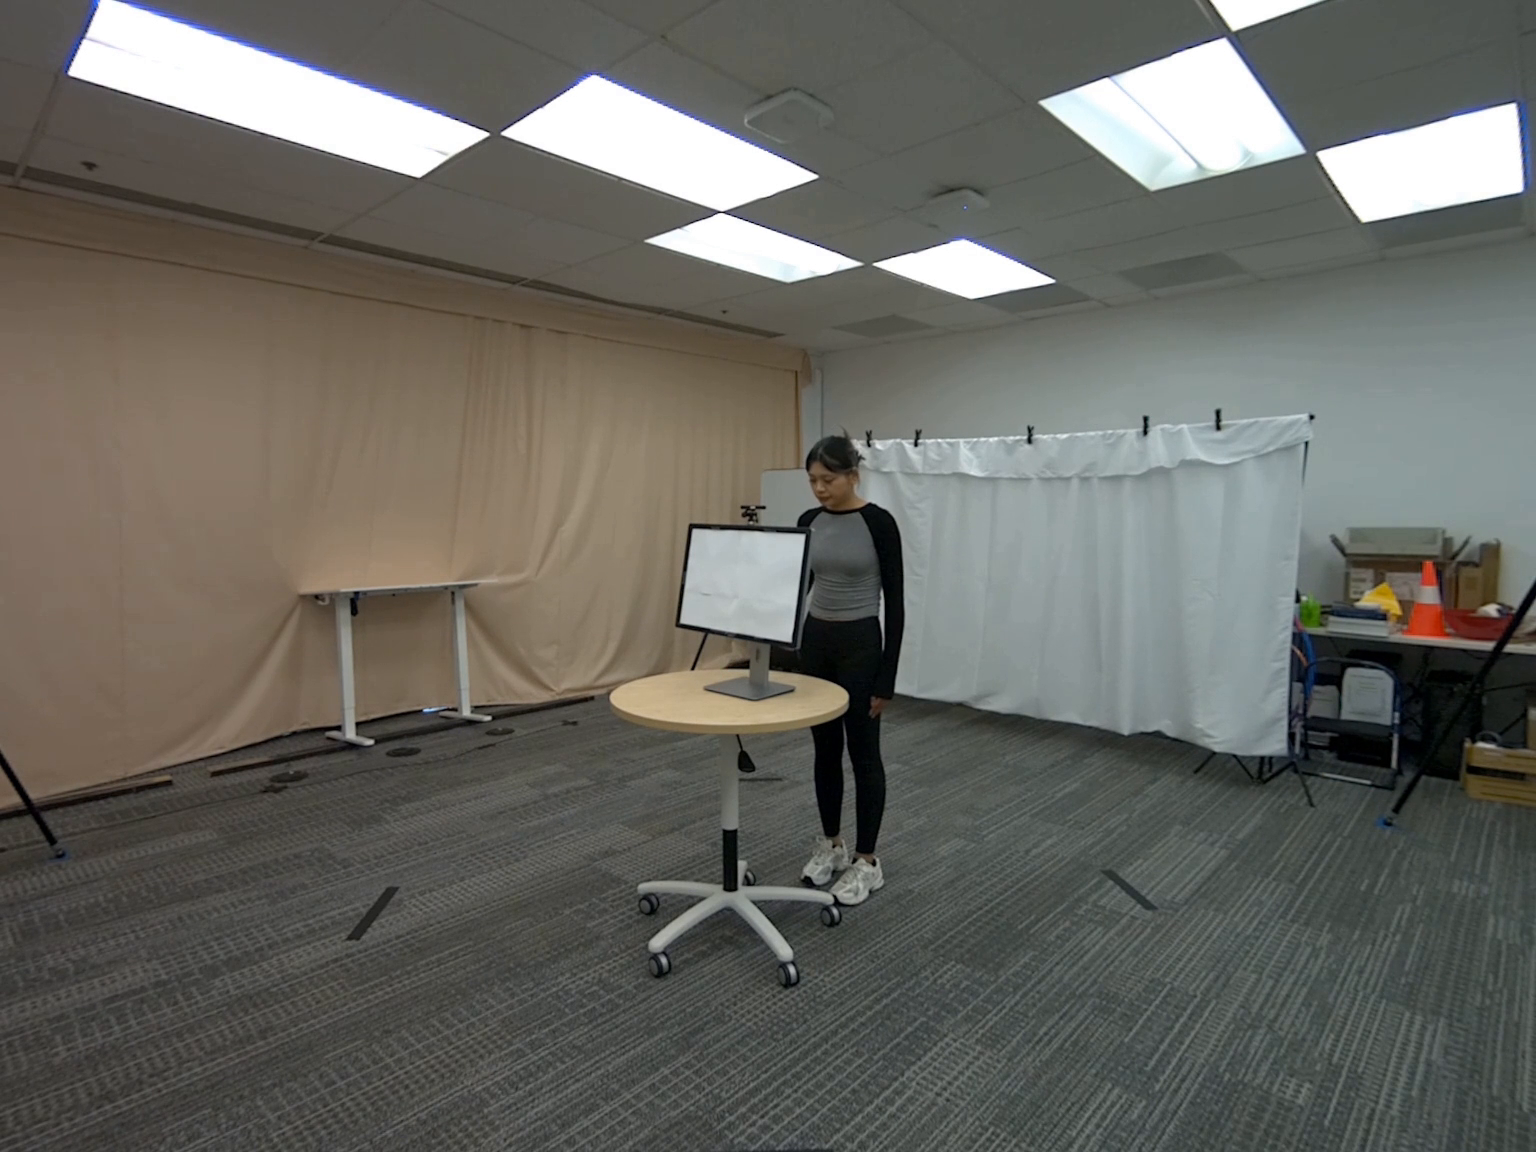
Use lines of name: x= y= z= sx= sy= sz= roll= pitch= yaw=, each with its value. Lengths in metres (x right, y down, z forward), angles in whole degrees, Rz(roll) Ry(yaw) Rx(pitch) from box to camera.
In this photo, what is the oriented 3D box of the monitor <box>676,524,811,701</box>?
monitor: x=-0.057 y=0.111 z=2.742 sx=0.557 sy=0.521 sz=0.181 roll=4 pitch=7 yaw=44
